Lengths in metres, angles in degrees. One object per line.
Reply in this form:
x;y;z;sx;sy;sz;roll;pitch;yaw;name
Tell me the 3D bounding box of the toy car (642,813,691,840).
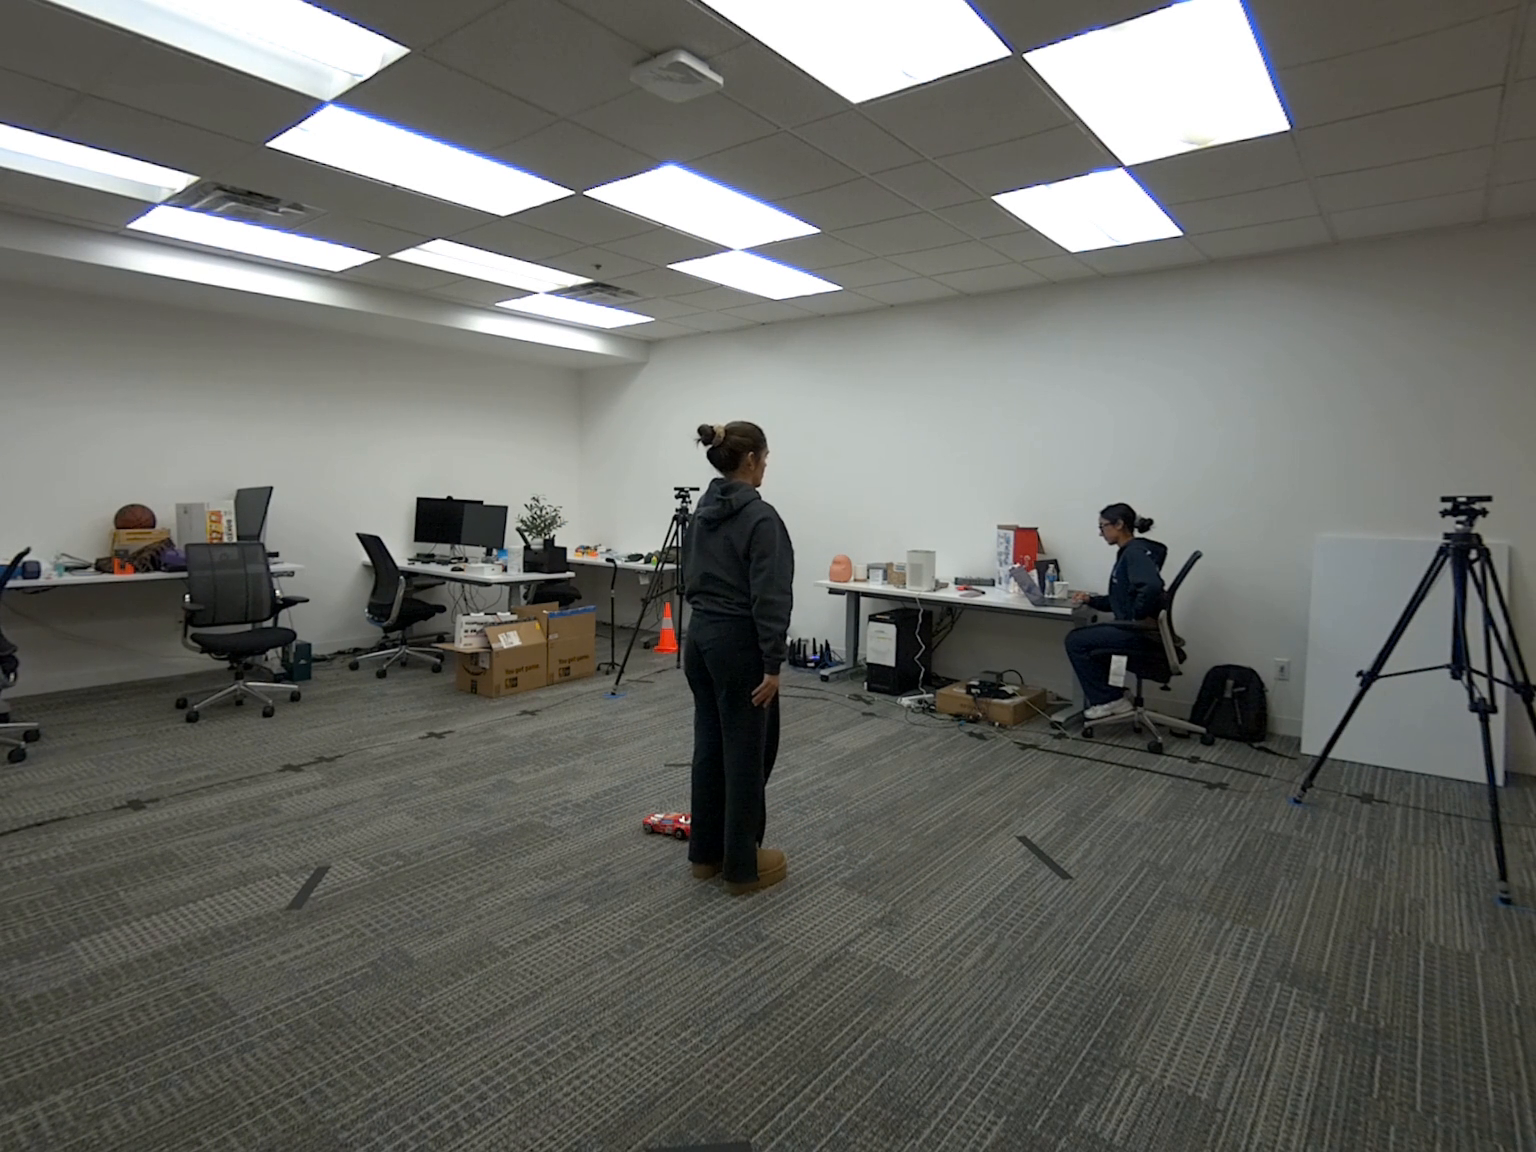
-0.381;1.006;3.432;0.260;0.083;0.127;-8;1;23;toy car
